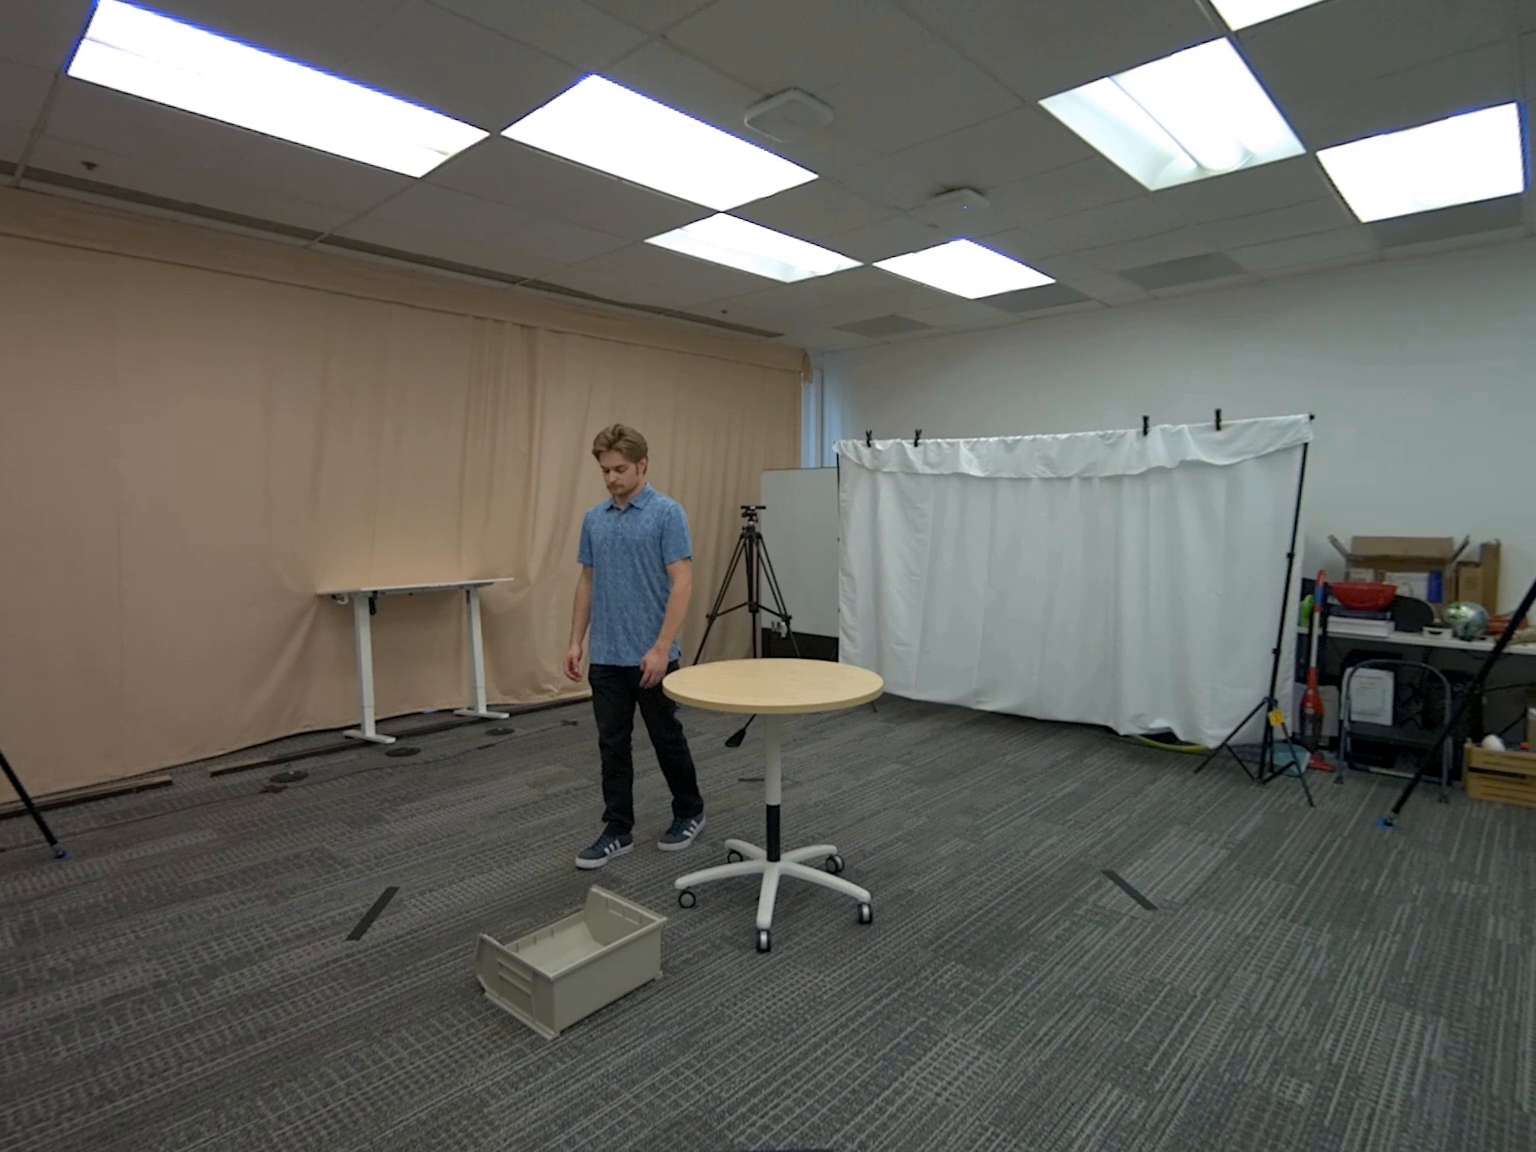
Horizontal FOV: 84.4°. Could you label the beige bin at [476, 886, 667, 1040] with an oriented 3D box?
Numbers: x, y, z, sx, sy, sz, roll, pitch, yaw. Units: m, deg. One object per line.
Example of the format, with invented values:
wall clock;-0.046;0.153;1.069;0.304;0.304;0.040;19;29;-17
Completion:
beige bin;-0.574;1.104;2.454;0.390;0.188;0.409;4;5;40
